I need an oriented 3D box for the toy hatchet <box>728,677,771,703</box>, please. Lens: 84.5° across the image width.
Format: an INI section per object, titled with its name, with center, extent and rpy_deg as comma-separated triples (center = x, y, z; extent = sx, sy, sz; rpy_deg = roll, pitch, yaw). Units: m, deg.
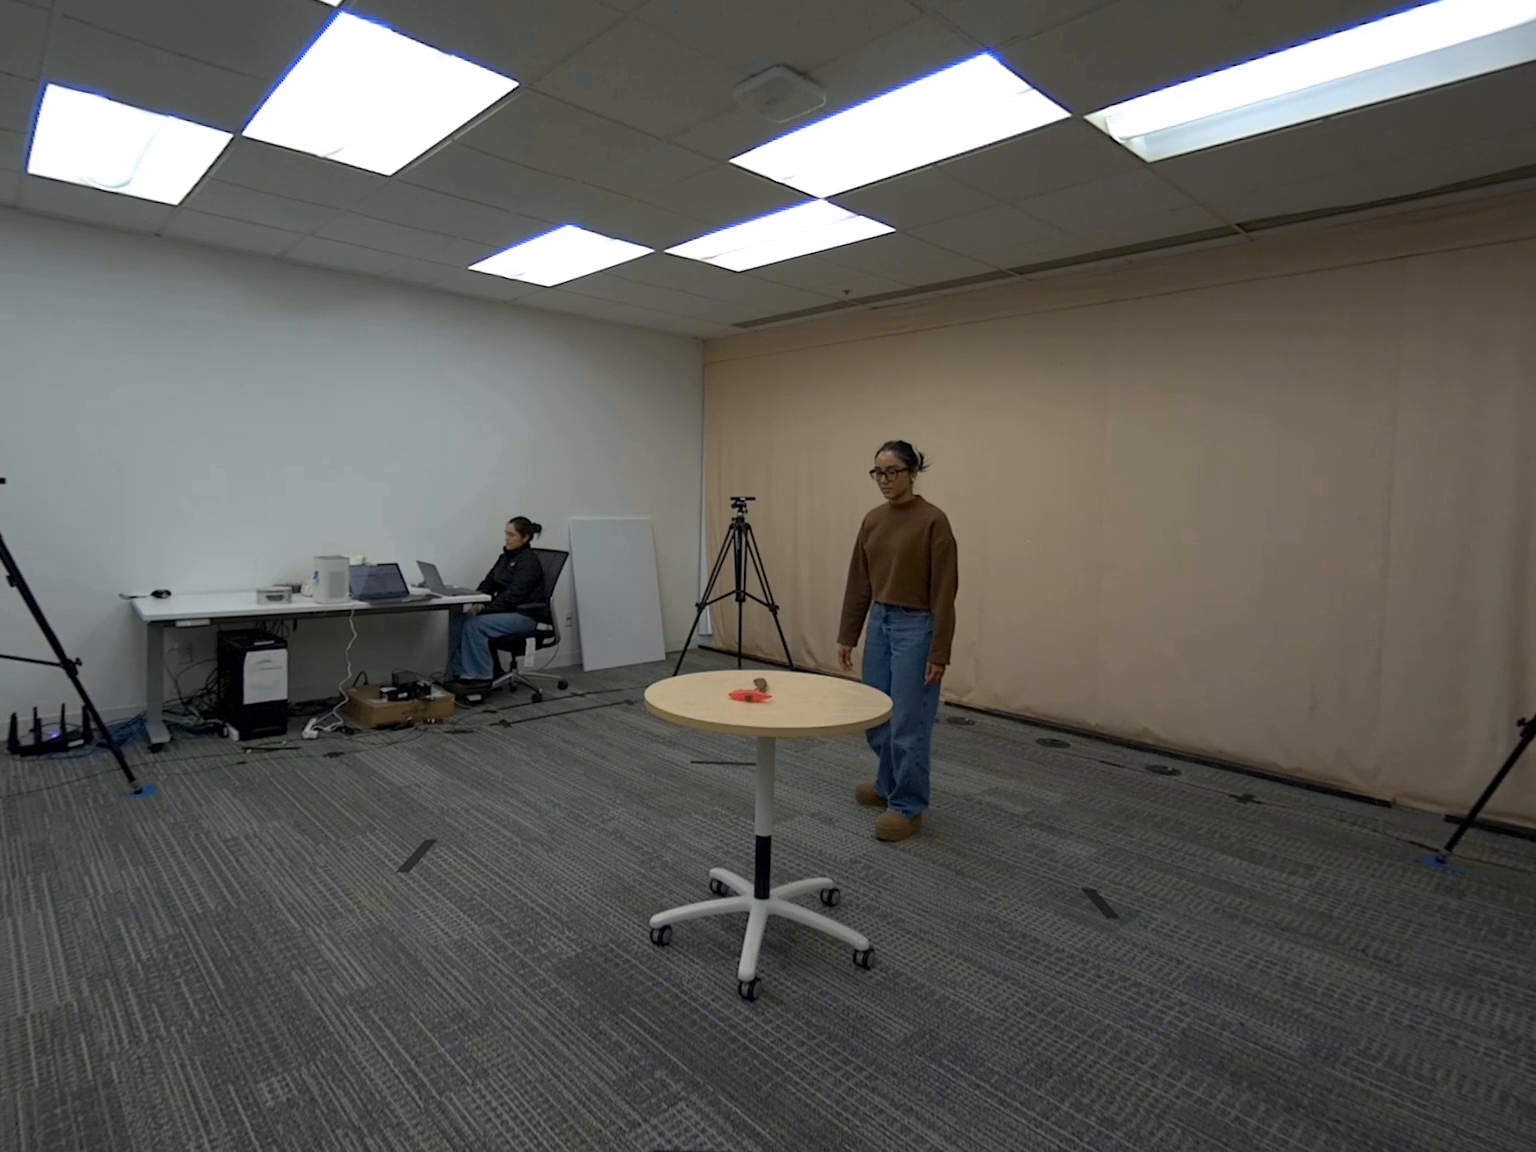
[toy hatchet]
center = -0.070, 0.361, 2.631
extent = 0.131, 0.029, 0.271
rpy_deg = -2, 3, -4
